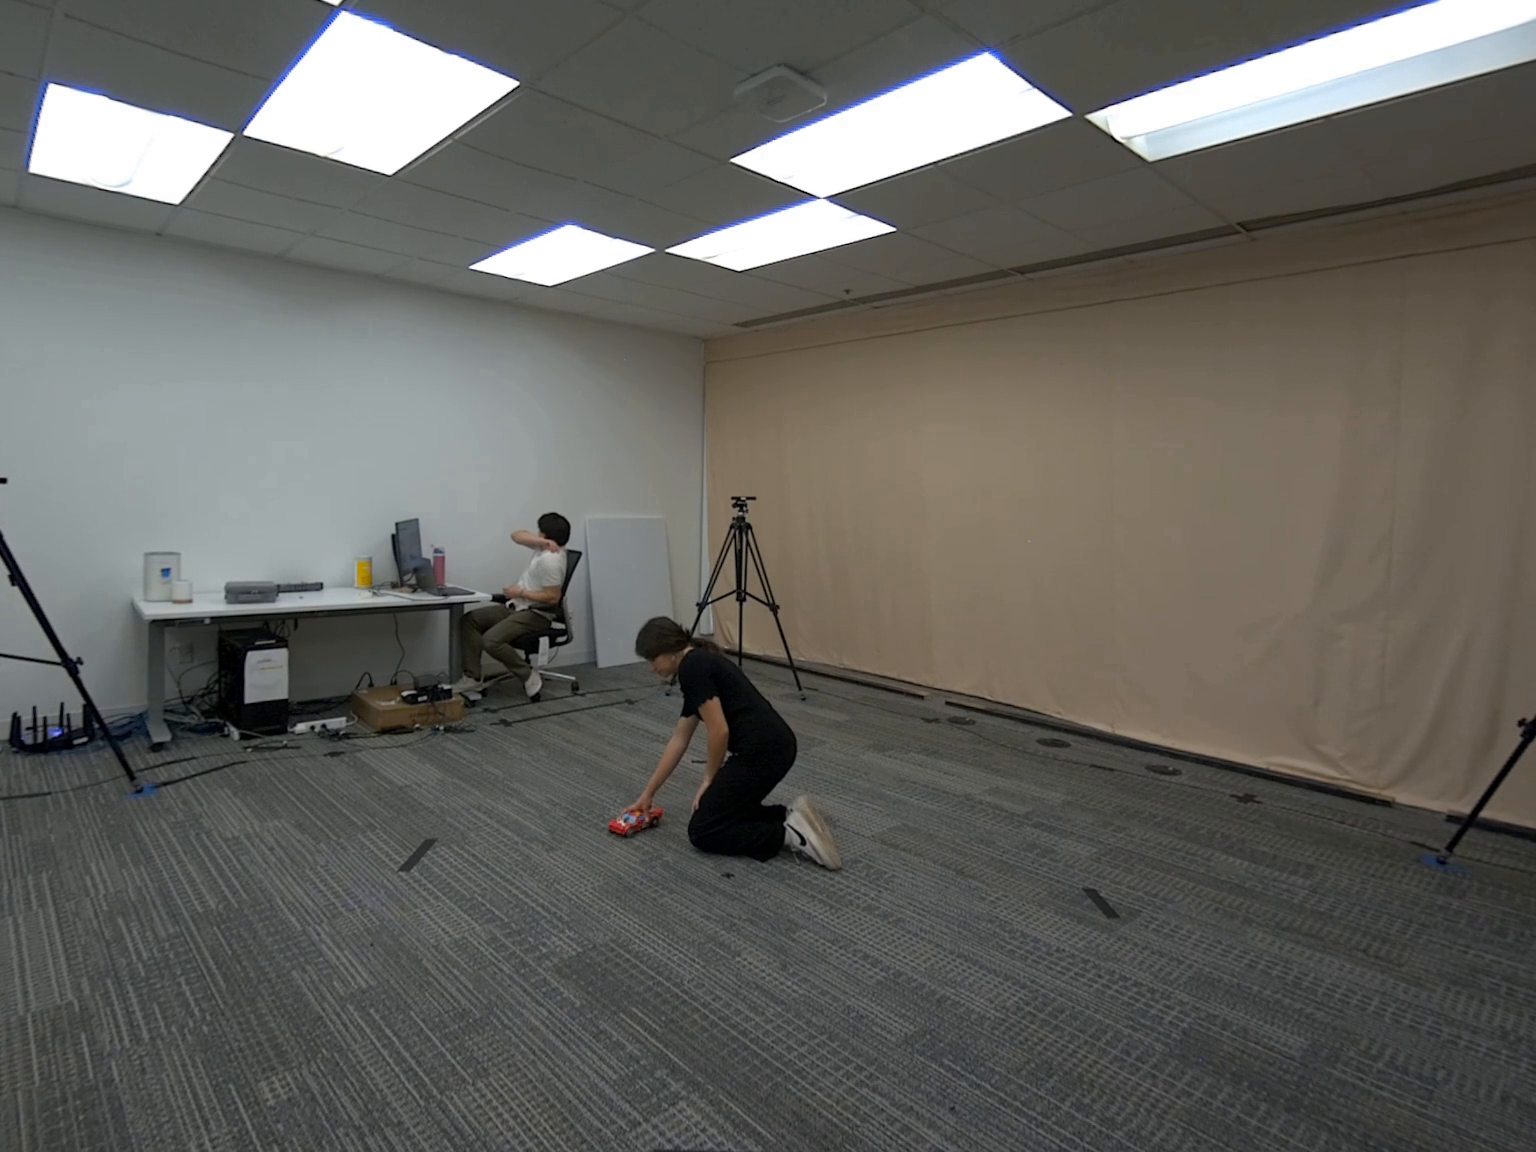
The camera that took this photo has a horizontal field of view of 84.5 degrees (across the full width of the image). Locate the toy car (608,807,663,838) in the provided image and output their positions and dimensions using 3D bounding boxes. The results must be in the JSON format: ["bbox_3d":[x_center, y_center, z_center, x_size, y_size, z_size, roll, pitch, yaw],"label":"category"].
[{"bbox_3d":[-0.550,1.021,3.536,0.133,0.082,0.251,3,15,38],"label":"toy car"}]
